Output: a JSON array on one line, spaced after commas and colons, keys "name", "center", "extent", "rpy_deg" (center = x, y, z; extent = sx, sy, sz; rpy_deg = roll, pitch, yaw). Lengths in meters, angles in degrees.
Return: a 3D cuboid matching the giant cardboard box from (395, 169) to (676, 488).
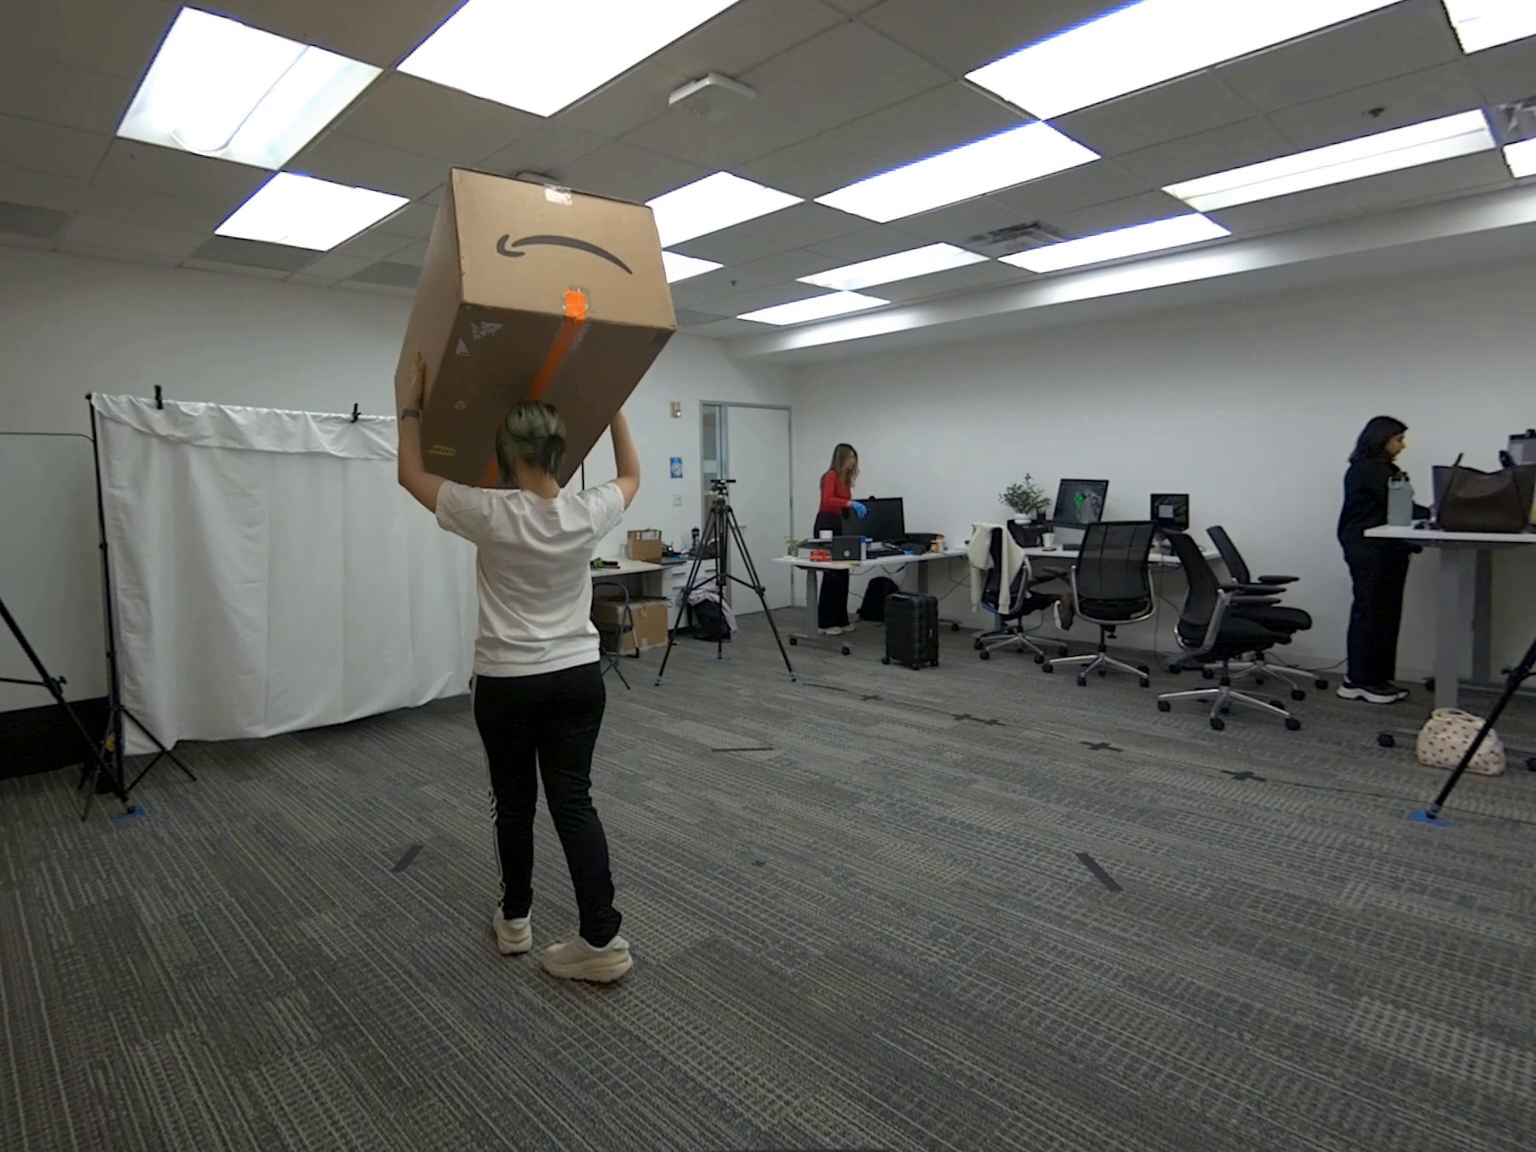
[{"name": "giant cardboard box", "center": [-0.779, -0.677, 2.661], "extent": [0.570, 0.456, 1.032], "rpy_deg": [-2, -20, -31]}]
